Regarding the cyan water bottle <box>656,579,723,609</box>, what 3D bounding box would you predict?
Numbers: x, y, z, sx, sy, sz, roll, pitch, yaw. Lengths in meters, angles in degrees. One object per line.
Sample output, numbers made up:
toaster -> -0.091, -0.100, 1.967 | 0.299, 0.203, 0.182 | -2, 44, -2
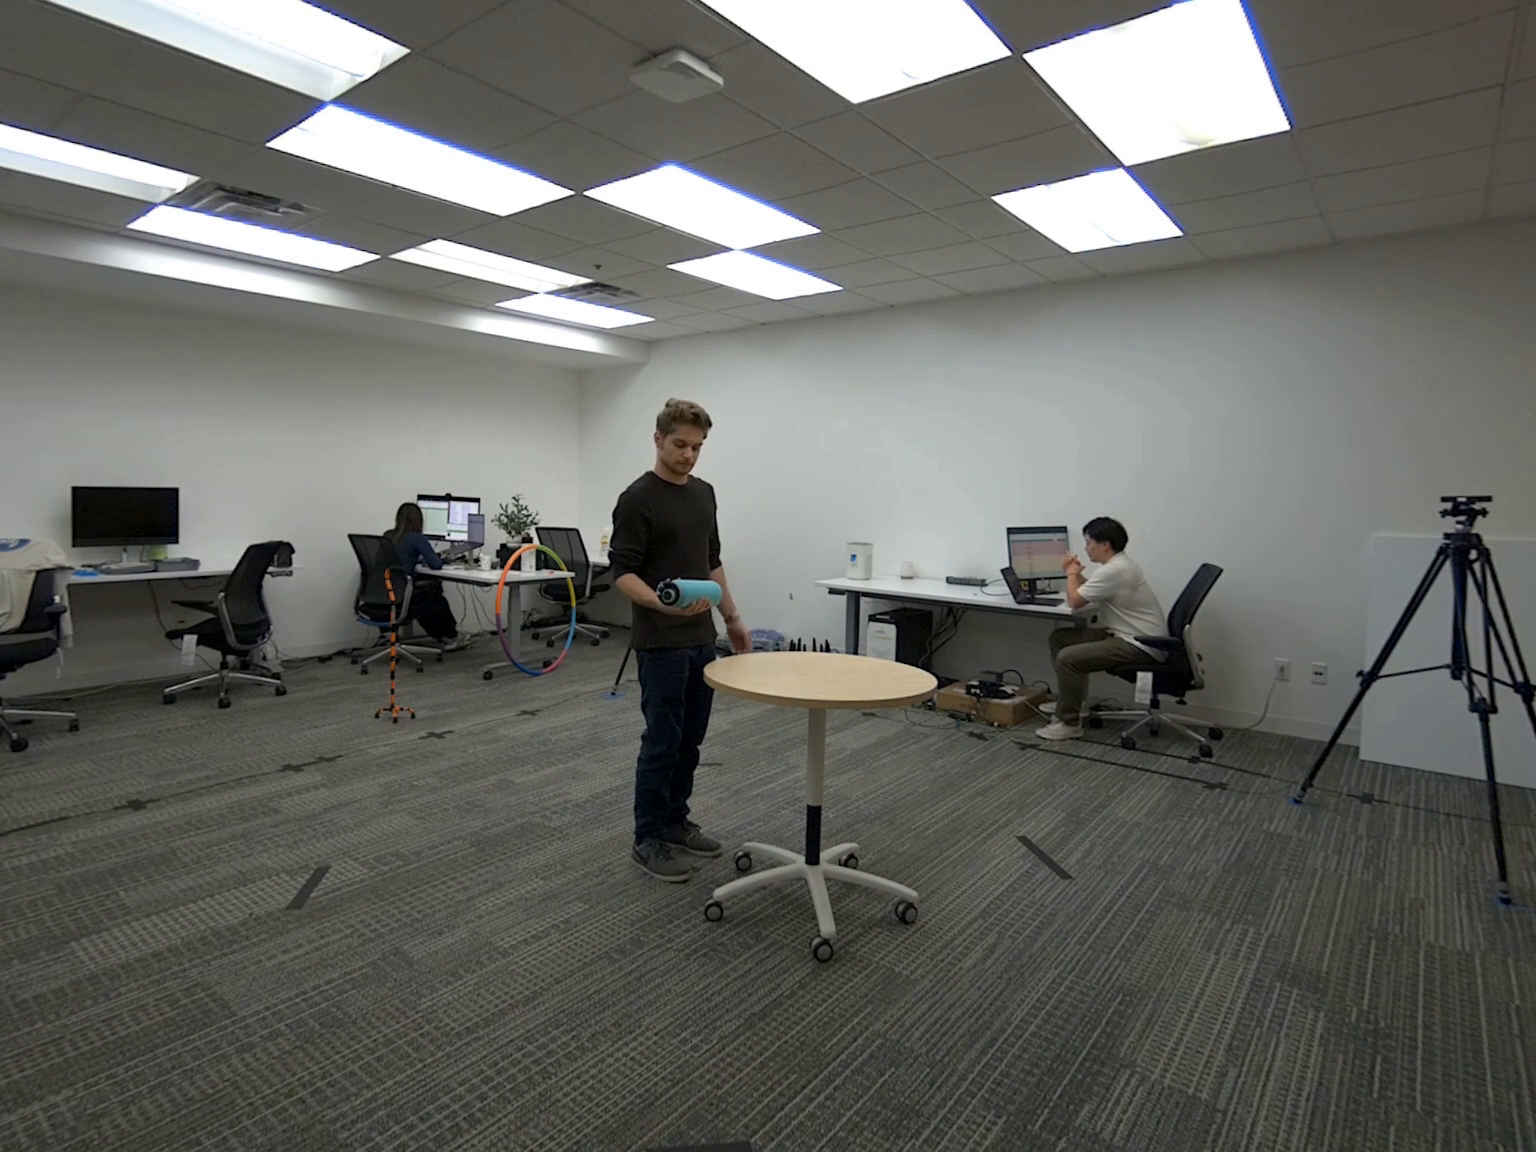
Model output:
cyan water bottle -> -0.266, 0.047, 2.787 | 0.095, 0.092, 0.275 | 3, -1, 27
